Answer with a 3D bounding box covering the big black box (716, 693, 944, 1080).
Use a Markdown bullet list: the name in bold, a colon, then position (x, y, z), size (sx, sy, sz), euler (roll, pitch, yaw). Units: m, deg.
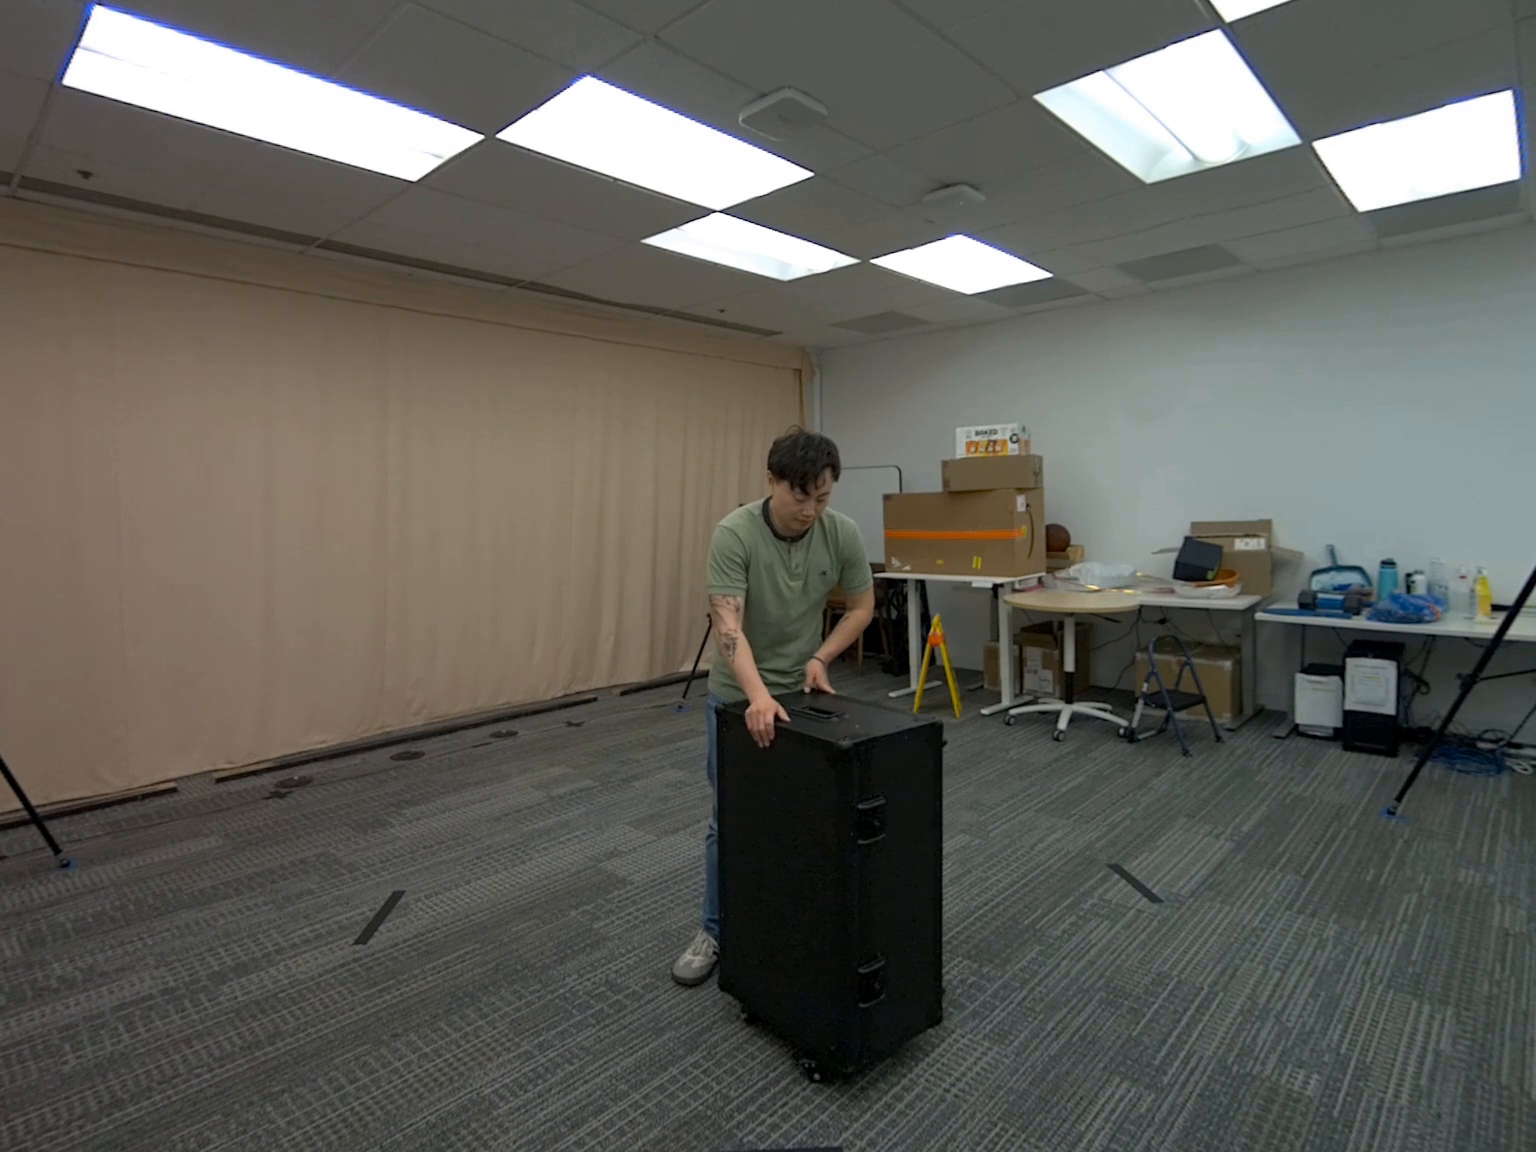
- **big black box**: position (0.169, 0.785, 2.207), size (0.384, 0.860, 0.538), euler (-2, 2, -39)
